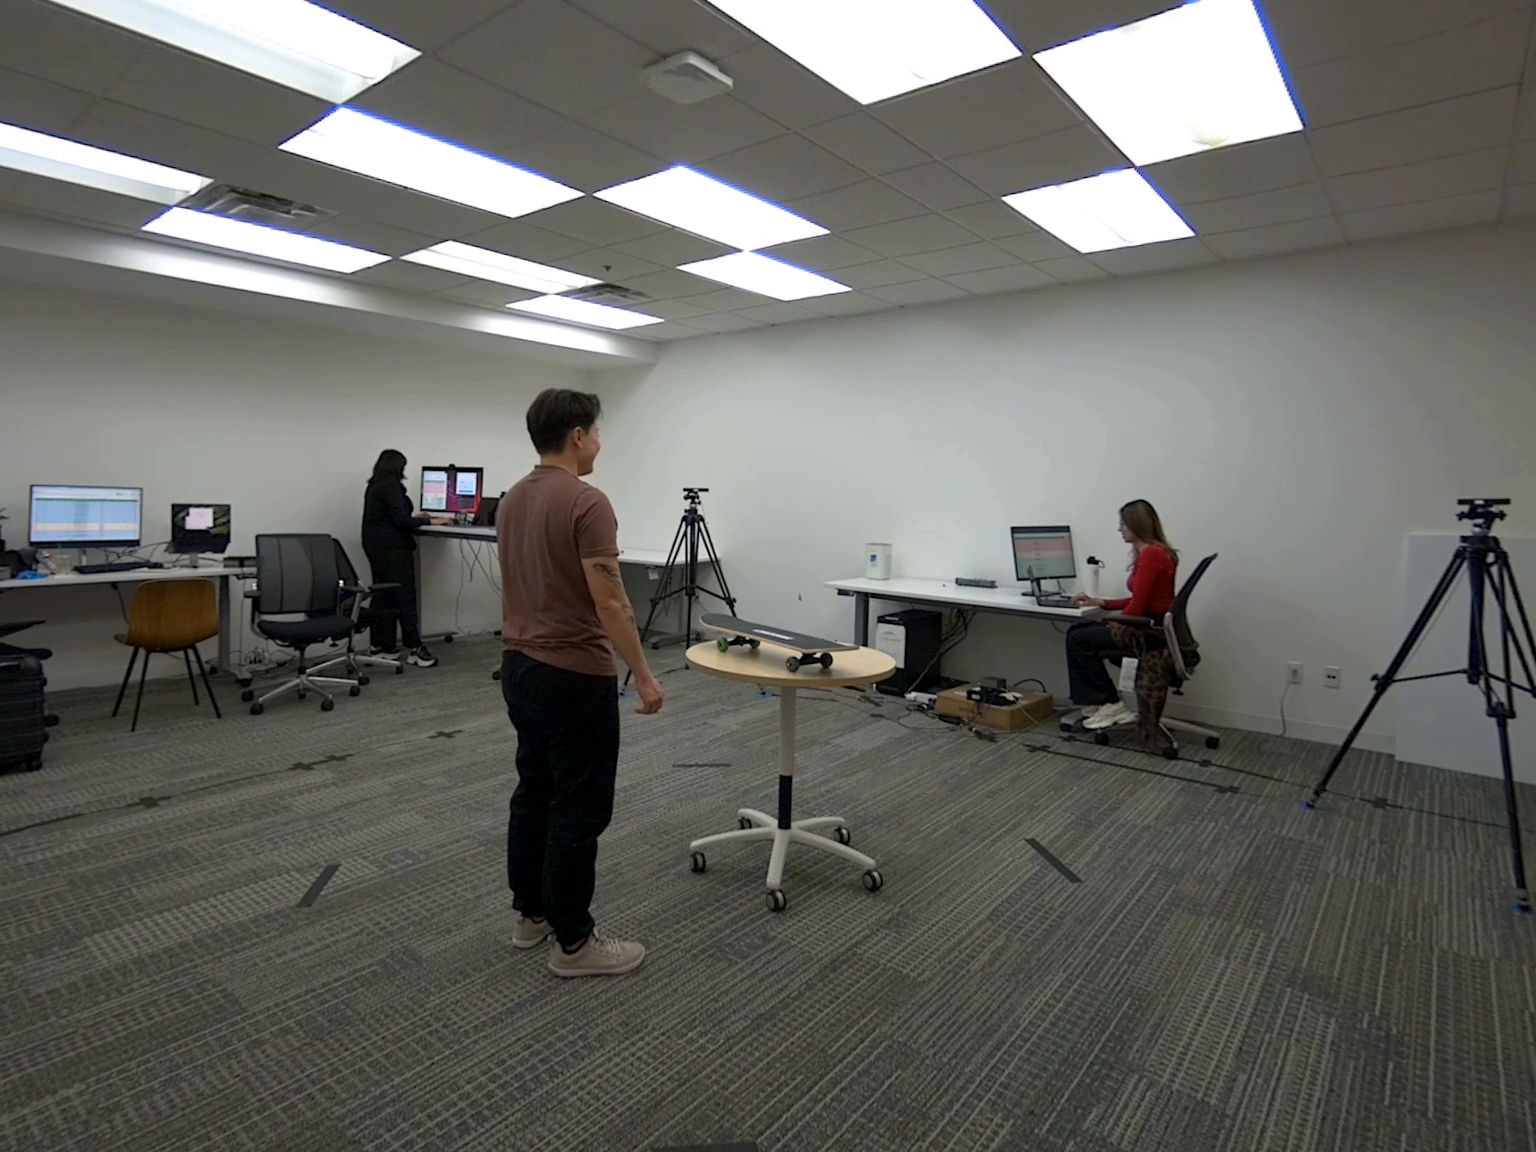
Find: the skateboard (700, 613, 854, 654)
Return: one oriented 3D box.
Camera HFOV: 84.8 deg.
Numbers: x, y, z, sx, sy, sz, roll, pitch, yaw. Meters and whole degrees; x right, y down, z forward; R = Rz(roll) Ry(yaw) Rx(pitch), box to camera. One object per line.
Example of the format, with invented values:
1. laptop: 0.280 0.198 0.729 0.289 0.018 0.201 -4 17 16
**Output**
1. skateboard: 0.009 0.247 3.054 0.188 0.110 0.812 -3 7 -37
